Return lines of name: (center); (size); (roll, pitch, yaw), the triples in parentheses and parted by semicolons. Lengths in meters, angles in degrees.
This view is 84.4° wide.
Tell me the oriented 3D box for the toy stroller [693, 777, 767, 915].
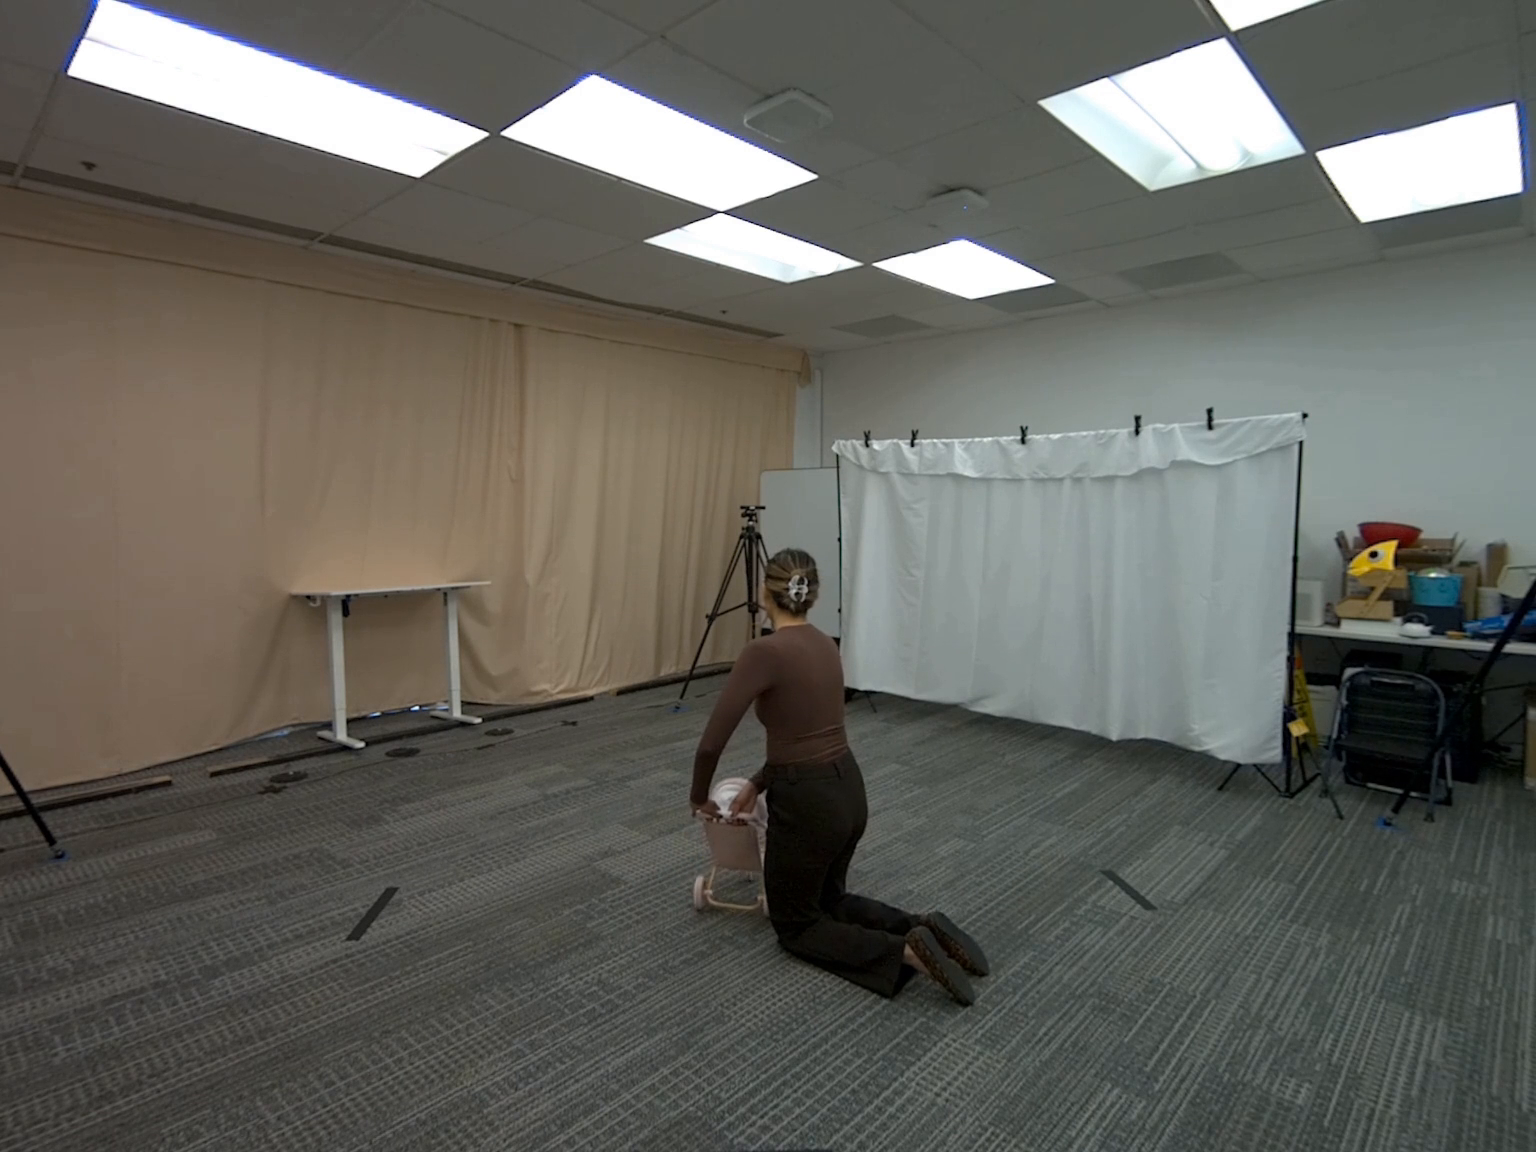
toy stroller: (-0.094, 0.925, 2.939); (0.286, 0.527, 0.340); (2, 22, 15)
